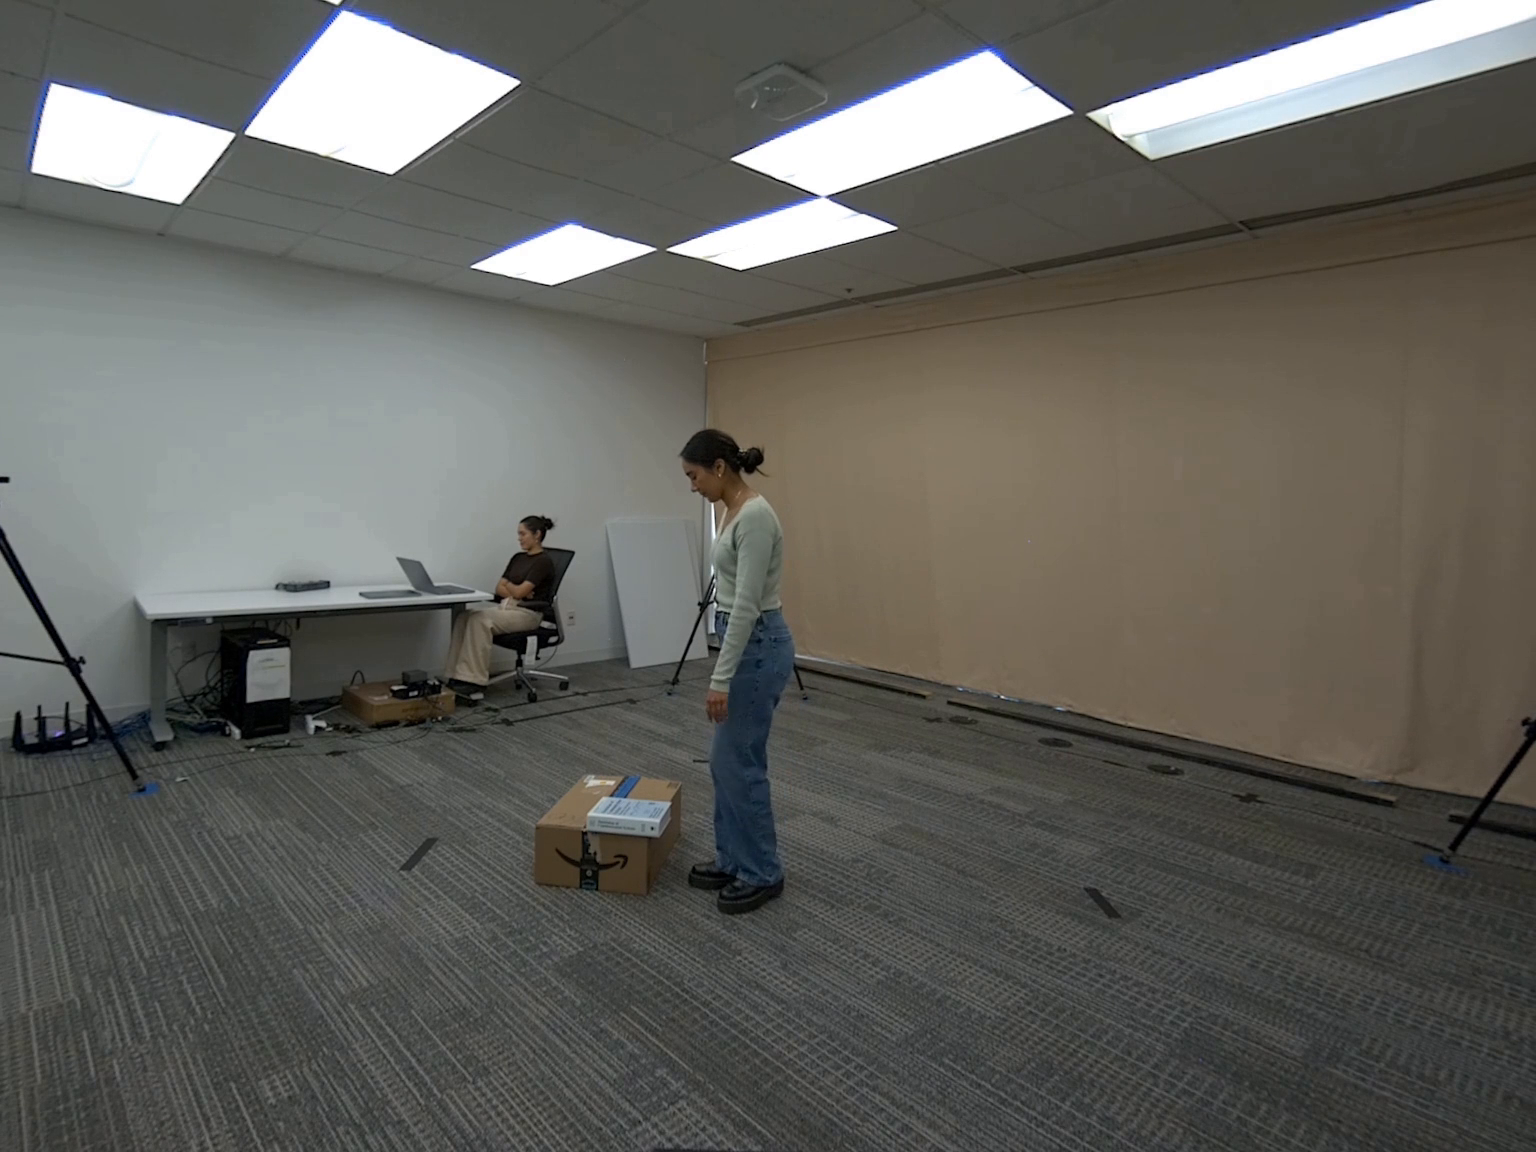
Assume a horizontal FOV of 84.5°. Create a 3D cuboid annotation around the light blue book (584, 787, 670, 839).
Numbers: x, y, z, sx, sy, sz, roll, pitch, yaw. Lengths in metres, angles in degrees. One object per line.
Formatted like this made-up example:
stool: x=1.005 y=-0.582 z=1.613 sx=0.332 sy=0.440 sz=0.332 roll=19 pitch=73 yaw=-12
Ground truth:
light blue book: x=-0.493 y=0.853 z=3.010 sx=0.263 sy=0.059 sz=0.190 roll=2 pitch=4 yaw=8
